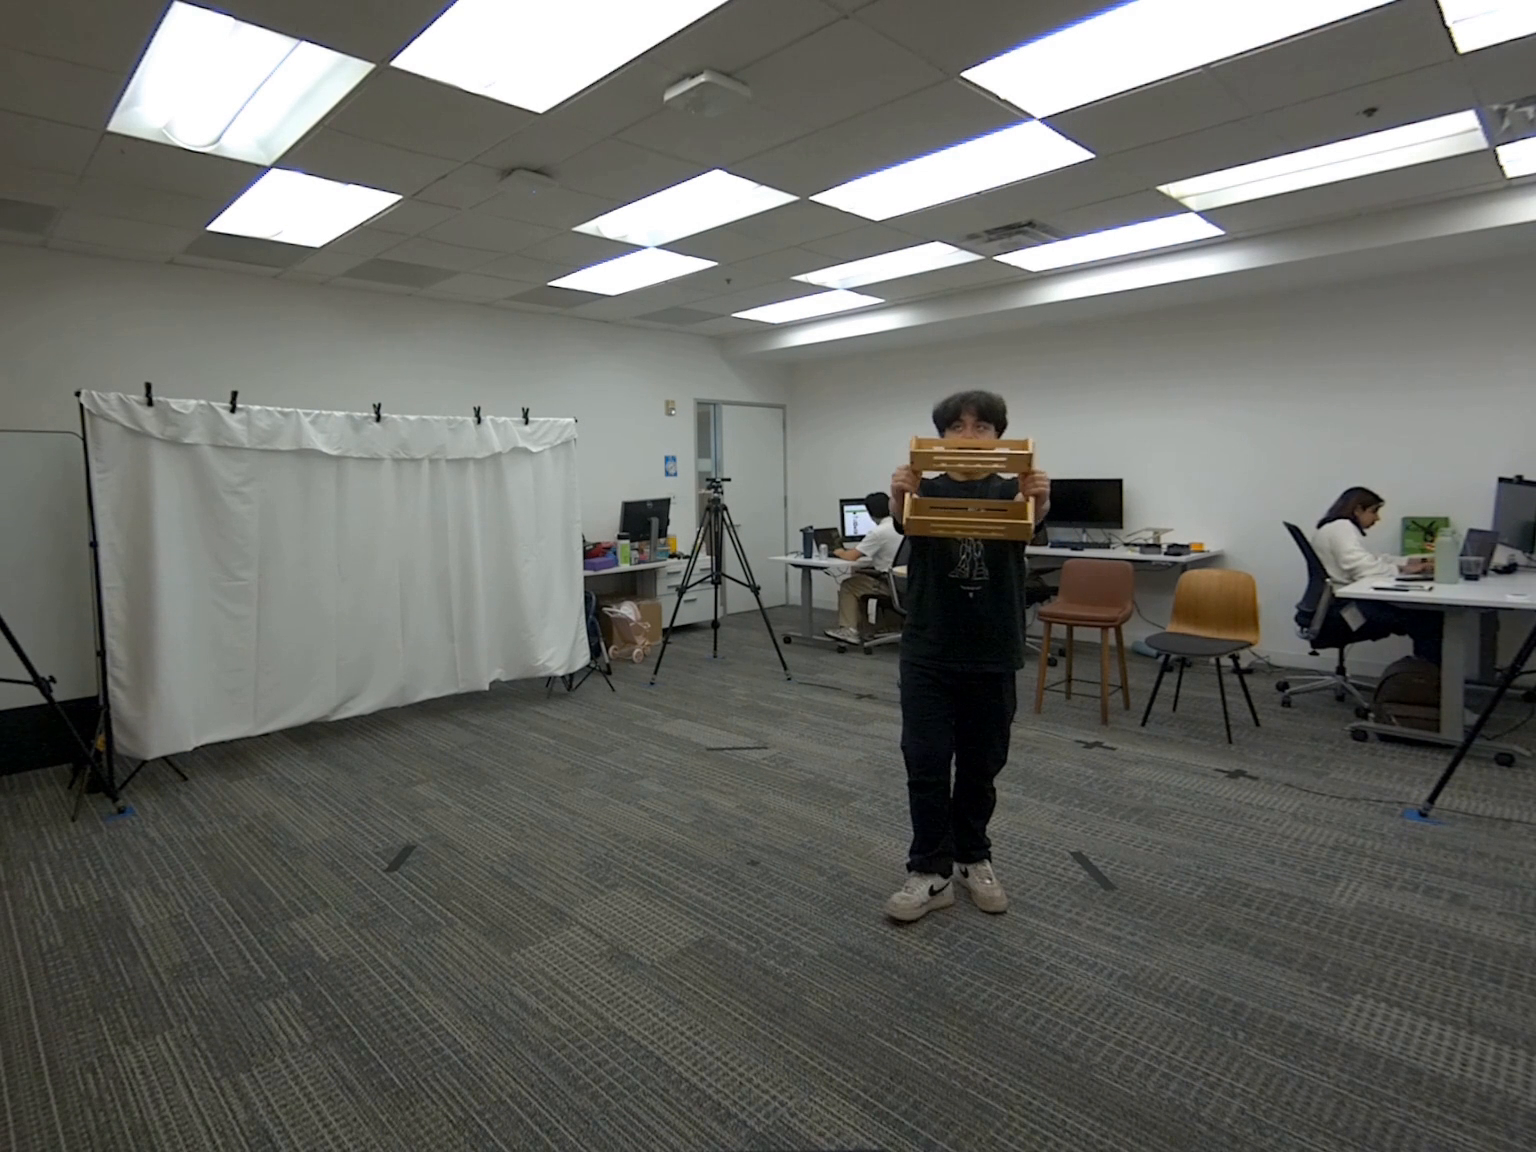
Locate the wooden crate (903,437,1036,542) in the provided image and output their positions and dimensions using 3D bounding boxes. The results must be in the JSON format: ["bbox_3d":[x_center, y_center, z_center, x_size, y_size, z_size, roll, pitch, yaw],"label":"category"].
[{"bbox_3d":[0.539,-0.240,2.224,0.329,0.272,0.299,3,5,13],"label":"wooden crate"}]
